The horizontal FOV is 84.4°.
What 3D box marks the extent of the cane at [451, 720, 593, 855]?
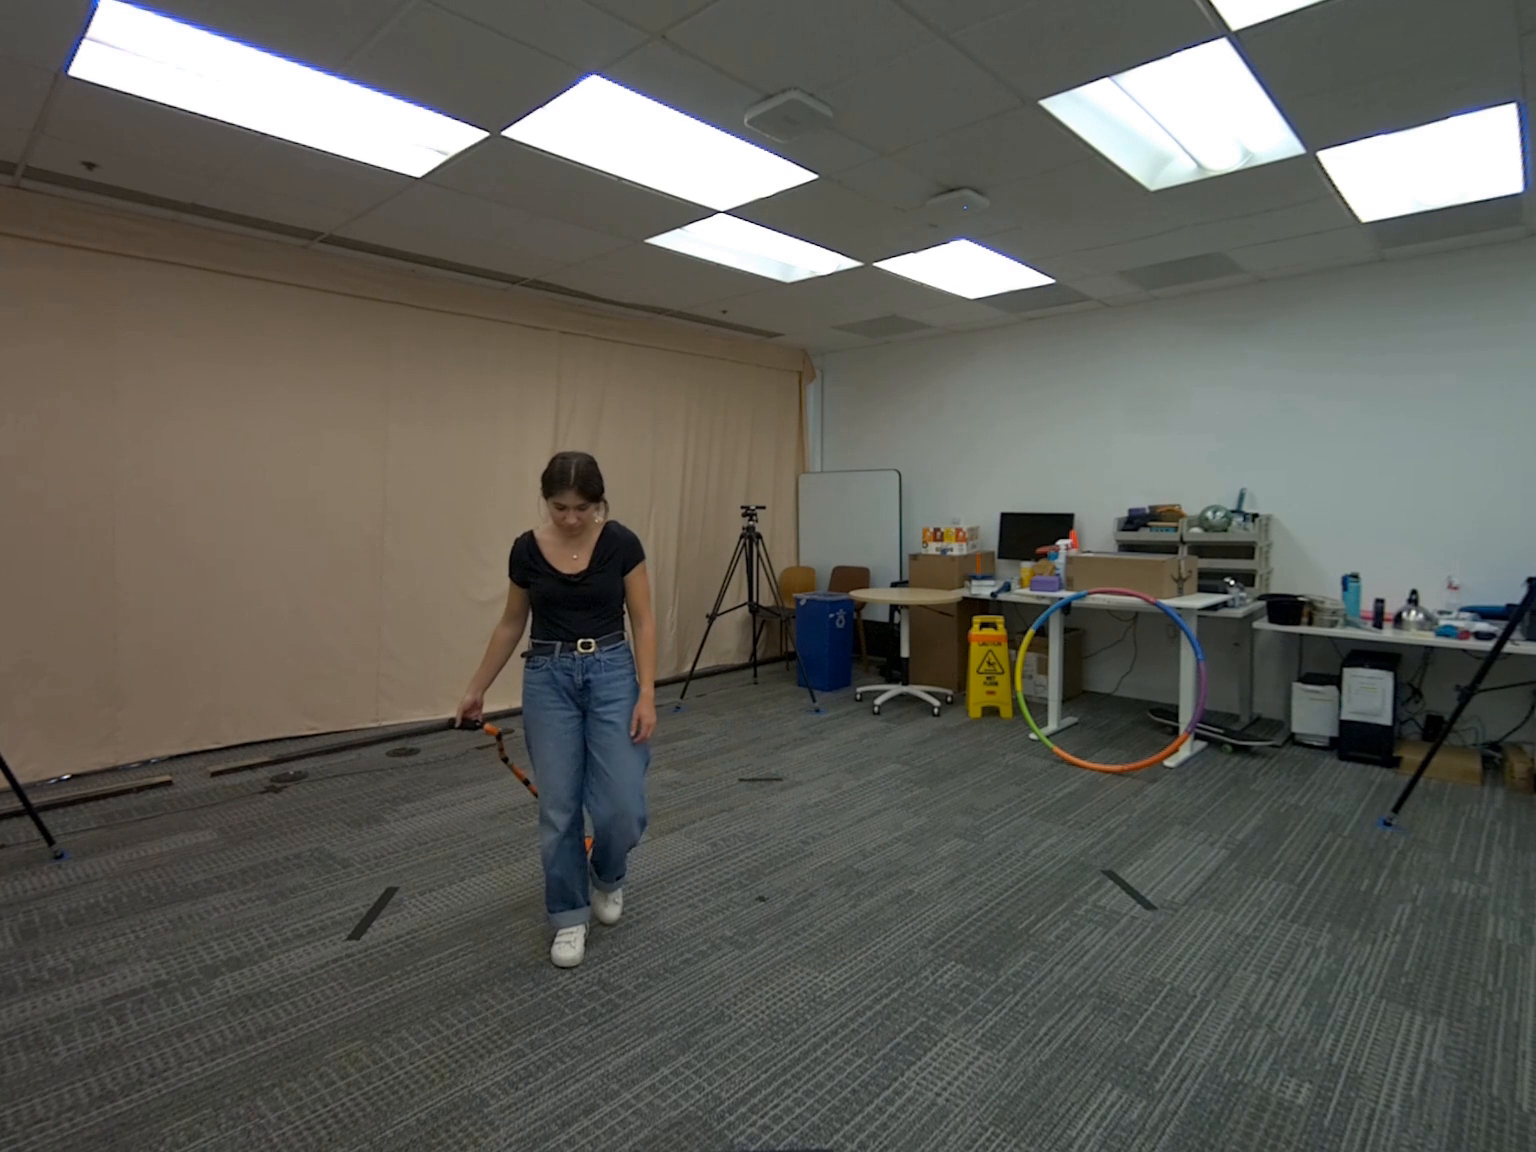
[{"bbox_3d":[-0.819,0.780,2.953,0.211,0.881,0.152,0,47,23],"label":"cane"}]
